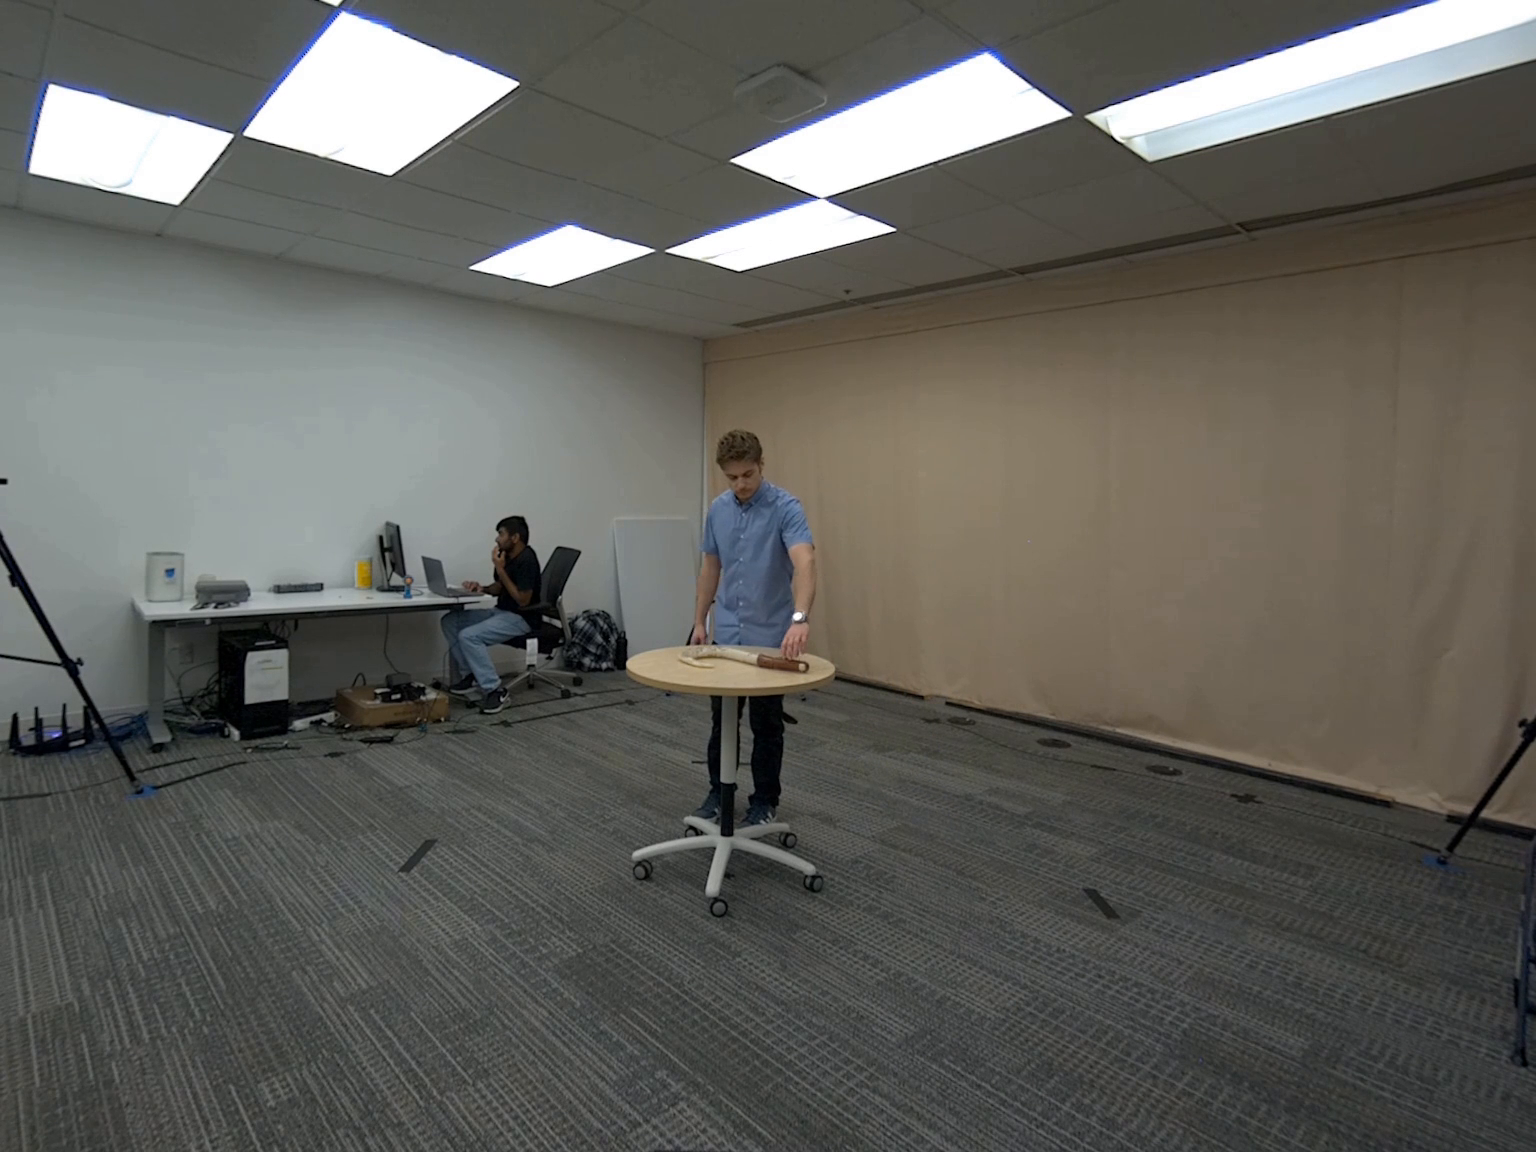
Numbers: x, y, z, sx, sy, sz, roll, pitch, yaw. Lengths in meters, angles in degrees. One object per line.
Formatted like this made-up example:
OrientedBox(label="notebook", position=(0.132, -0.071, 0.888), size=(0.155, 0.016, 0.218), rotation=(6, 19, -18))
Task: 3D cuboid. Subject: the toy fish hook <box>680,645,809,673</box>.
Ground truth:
OrientedBox(label="toy fish hook", position=(-0.115, 0.316, 3.053), size=(0.518, 0.048, 0.221), rotation=(4, 13, 33))
